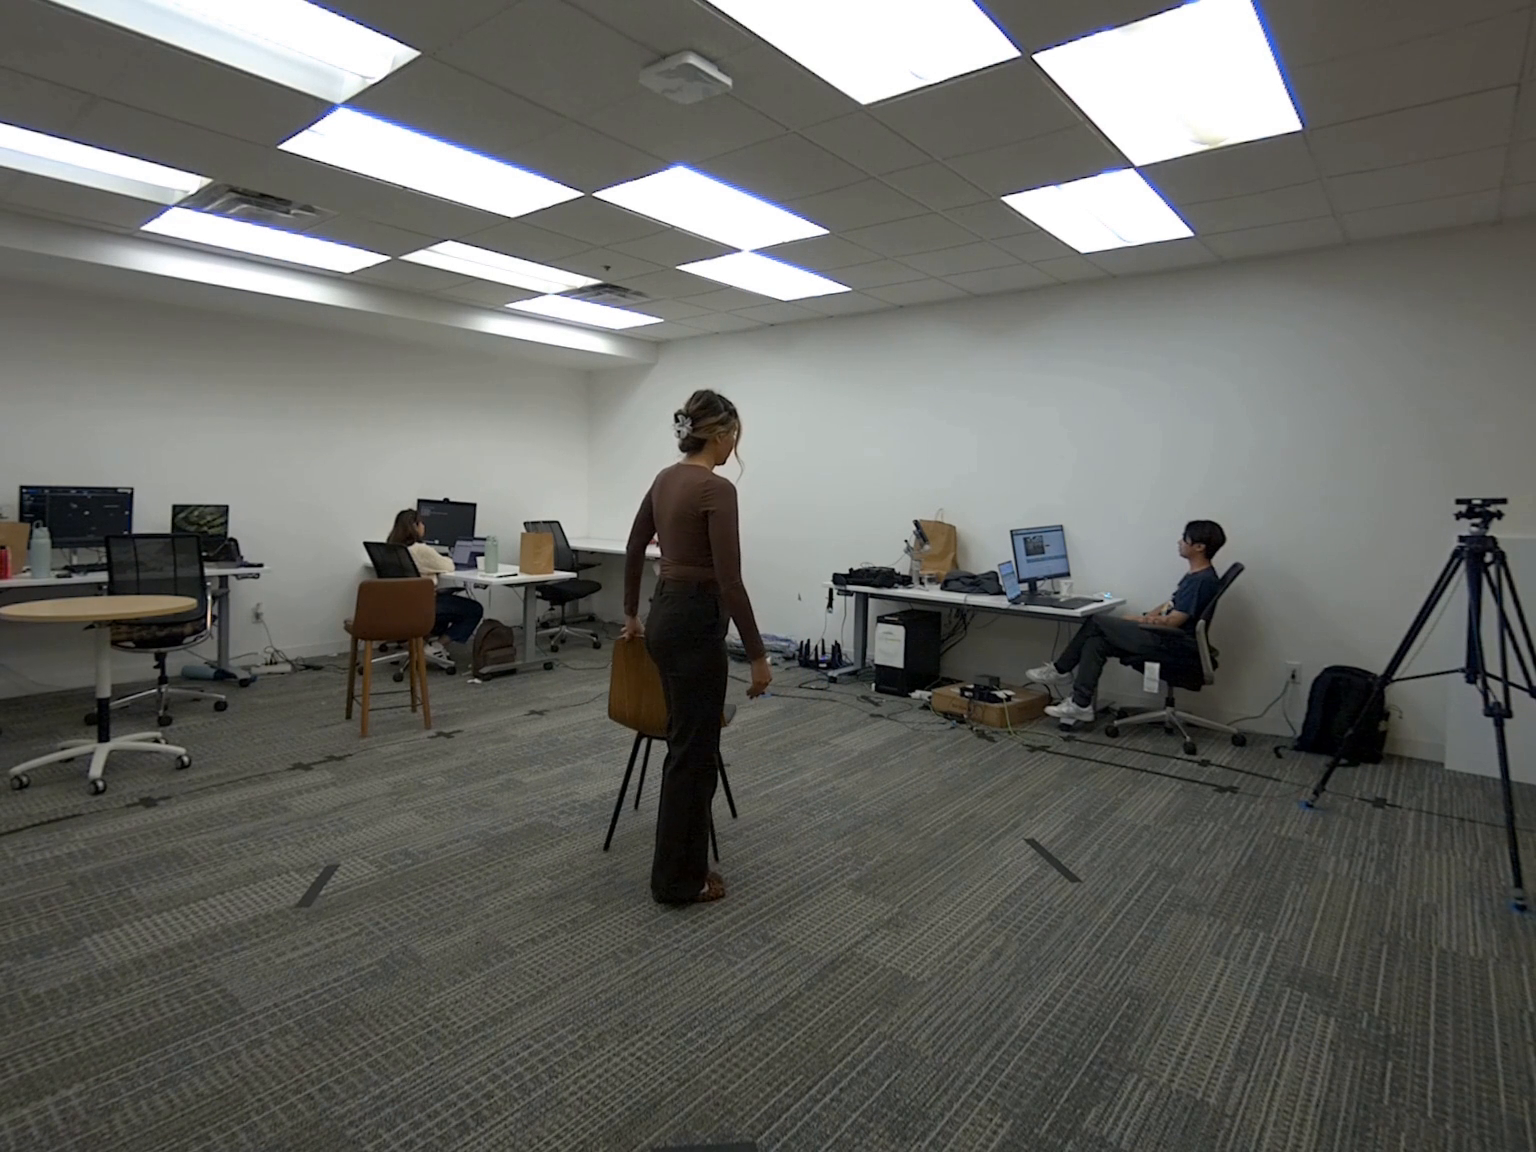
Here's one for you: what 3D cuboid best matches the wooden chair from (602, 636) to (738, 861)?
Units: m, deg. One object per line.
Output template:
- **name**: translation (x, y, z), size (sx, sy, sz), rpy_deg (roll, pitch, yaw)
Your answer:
- **wooden chair**: translation (-0.389, 0.607, 3.410), size (0.484, 0.871, 0.520), rpy_deg (1, 7, 10)
